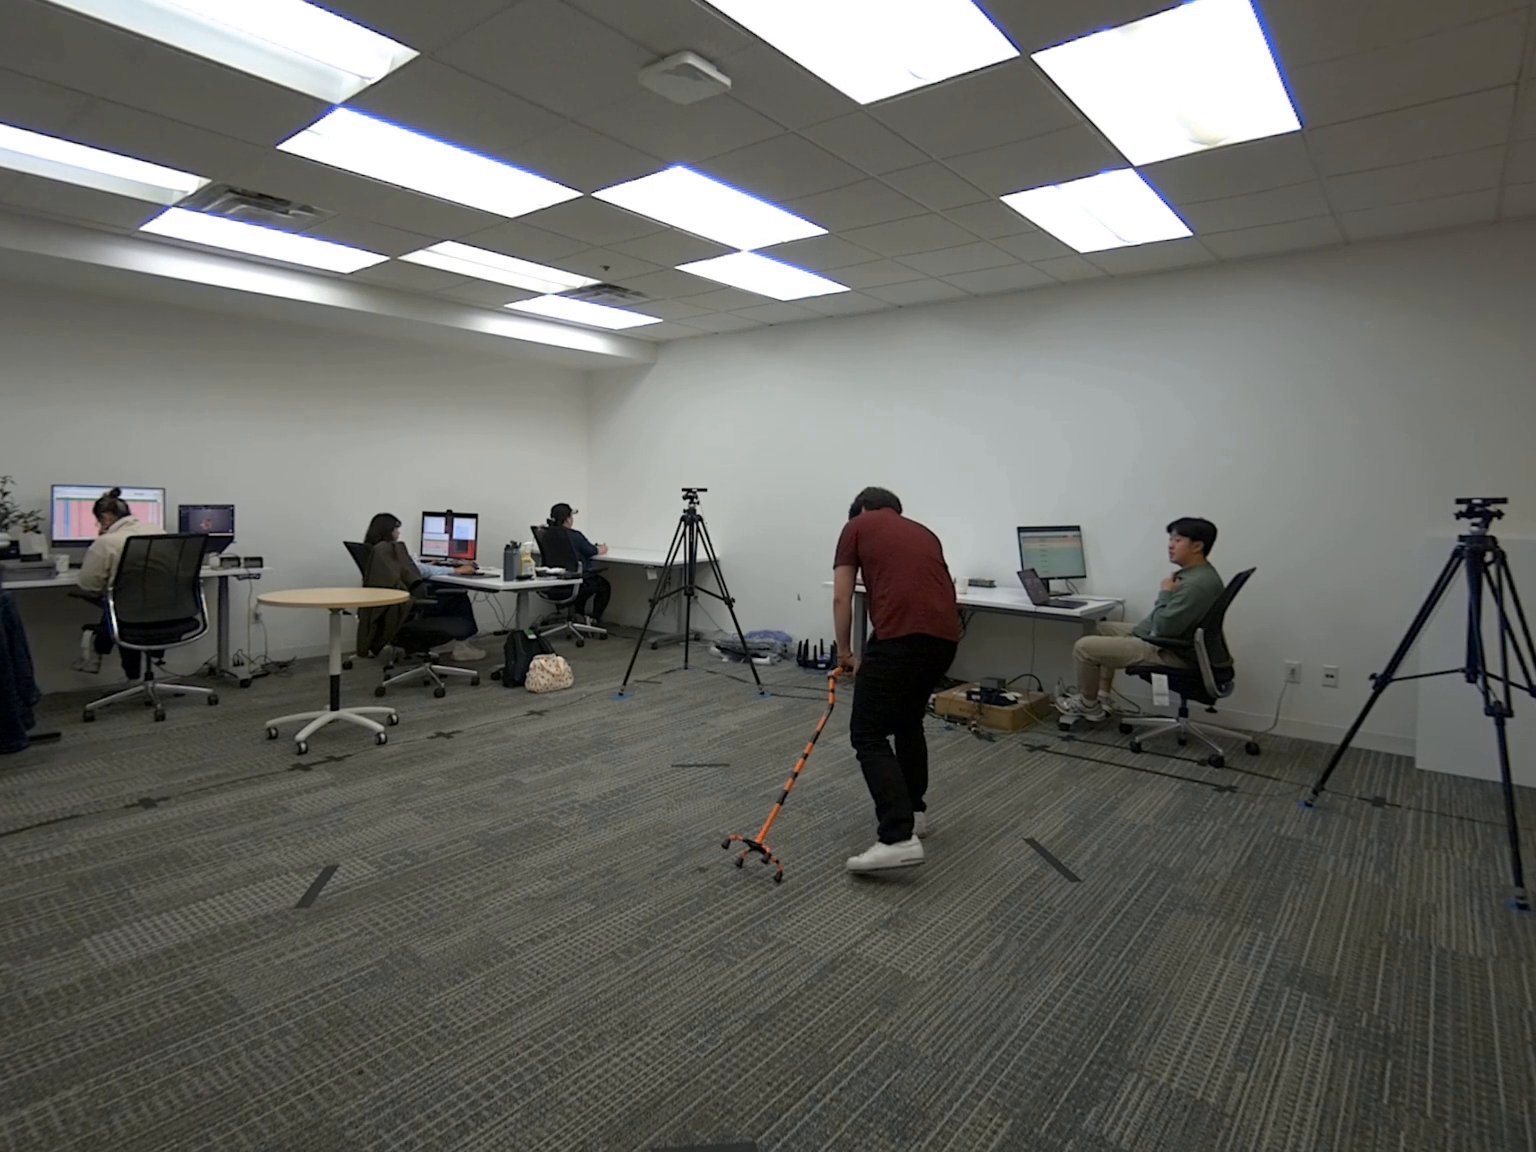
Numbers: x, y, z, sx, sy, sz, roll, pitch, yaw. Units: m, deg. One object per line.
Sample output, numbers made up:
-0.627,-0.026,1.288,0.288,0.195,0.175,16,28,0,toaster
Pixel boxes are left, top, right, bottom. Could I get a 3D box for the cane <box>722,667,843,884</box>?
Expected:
0.136,0.706,3.285,0.213,0.146,0.912,7,48,36,cane
